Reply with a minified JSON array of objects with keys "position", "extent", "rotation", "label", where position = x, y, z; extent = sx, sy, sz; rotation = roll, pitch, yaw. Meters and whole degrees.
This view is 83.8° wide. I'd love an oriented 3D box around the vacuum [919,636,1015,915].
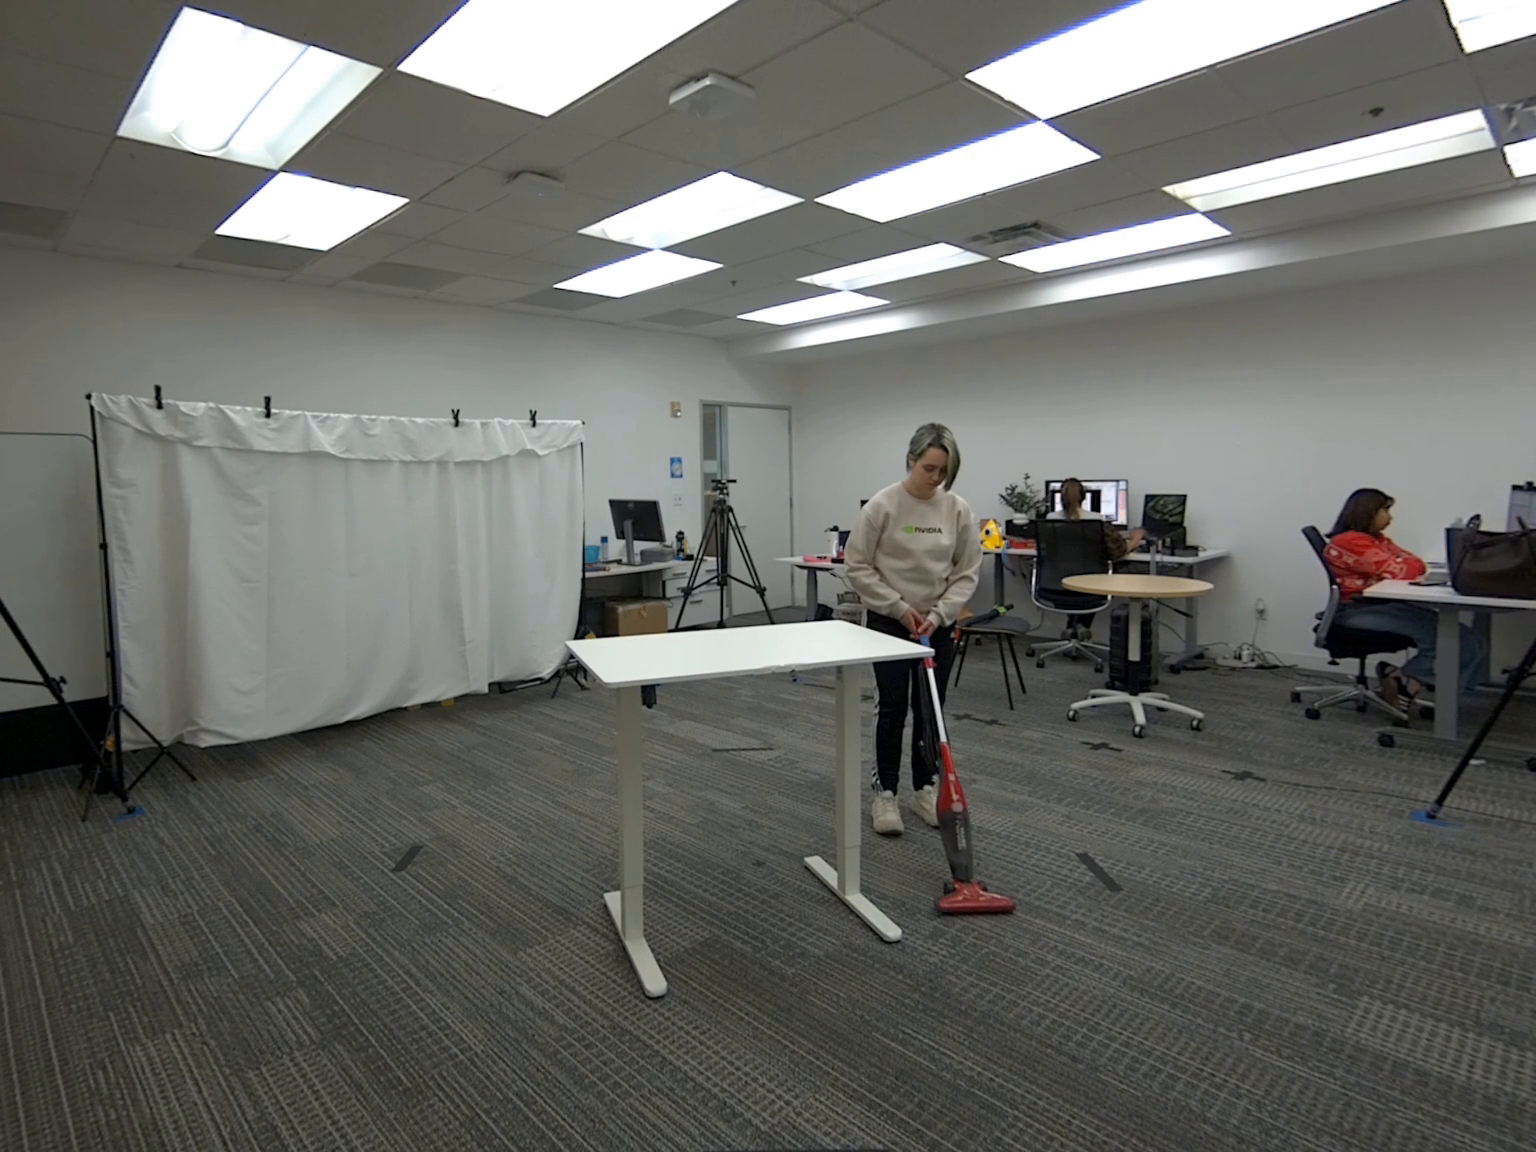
[{"position":[0.630,0.632,3.096],"extent":[0.250,1.079,0.141],"rotation":[2,-37,-10],"label":"vacuum"}]
